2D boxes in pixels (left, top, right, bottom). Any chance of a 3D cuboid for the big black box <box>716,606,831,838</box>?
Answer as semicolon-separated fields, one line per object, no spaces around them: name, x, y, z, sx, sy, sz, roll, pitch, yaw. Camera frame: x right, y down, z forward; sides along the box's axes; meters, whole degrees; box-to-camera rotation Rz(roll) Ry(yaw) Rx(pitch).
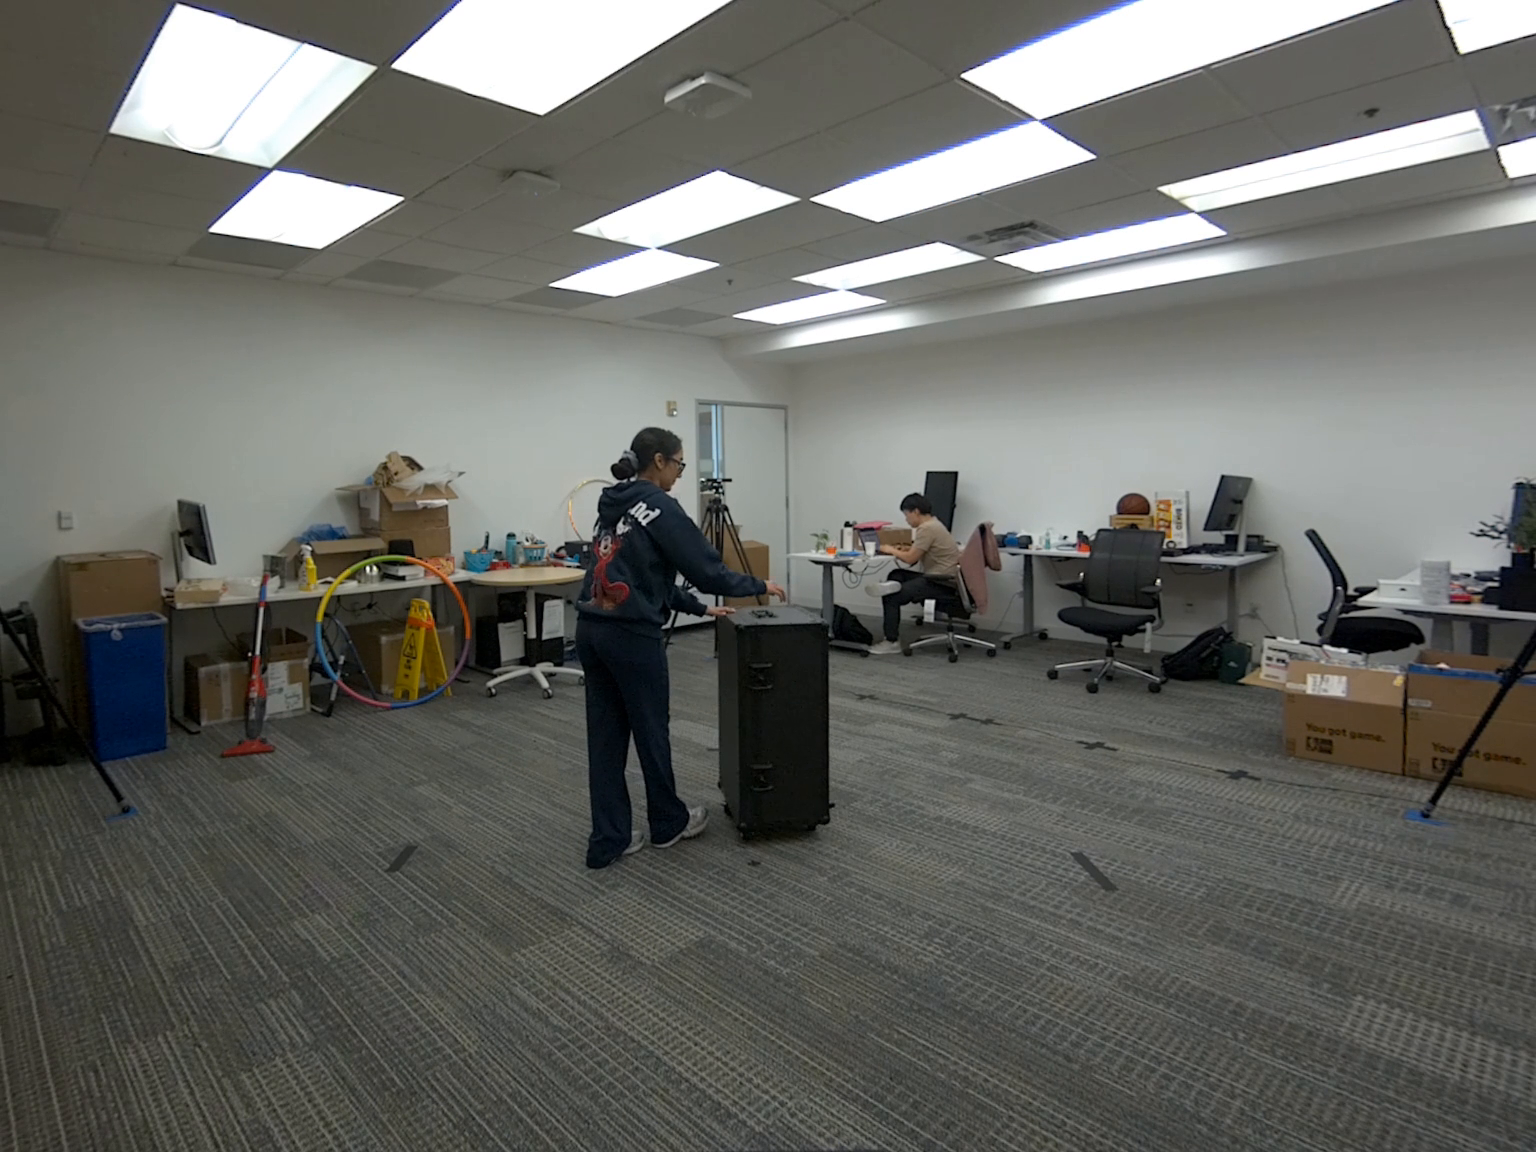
big black box;0.014;0.574;3.465;0.393;0.859;0.527;-1;4;-8
